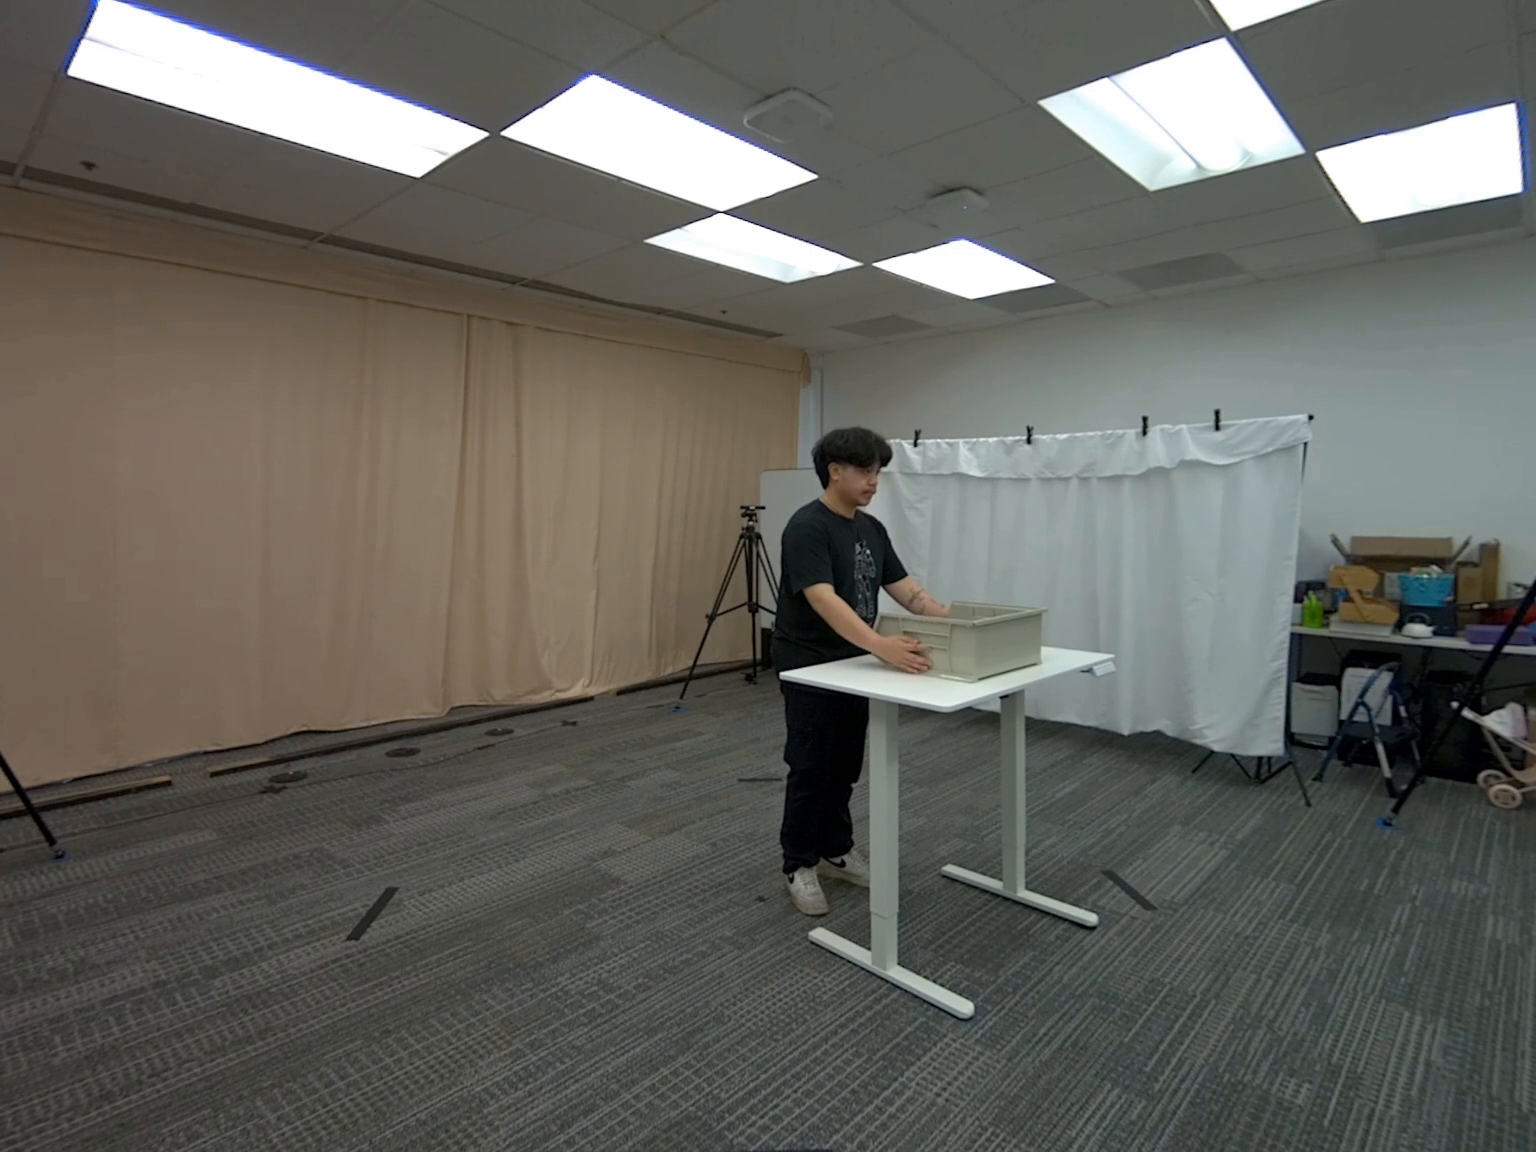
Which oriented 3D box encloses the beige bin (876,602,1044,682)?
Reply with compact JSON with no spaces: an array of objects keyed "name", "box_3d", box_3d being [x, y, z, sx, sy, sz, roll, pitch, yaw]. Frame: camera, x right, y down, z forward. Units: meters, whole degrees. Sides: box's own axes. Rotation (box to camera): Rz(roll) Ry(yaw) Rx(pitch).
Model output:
[{"name":"beige bin","box_3d":[0.613,0.200,2.659,0.409,0.188,0.390,-4,7,-42]}]
